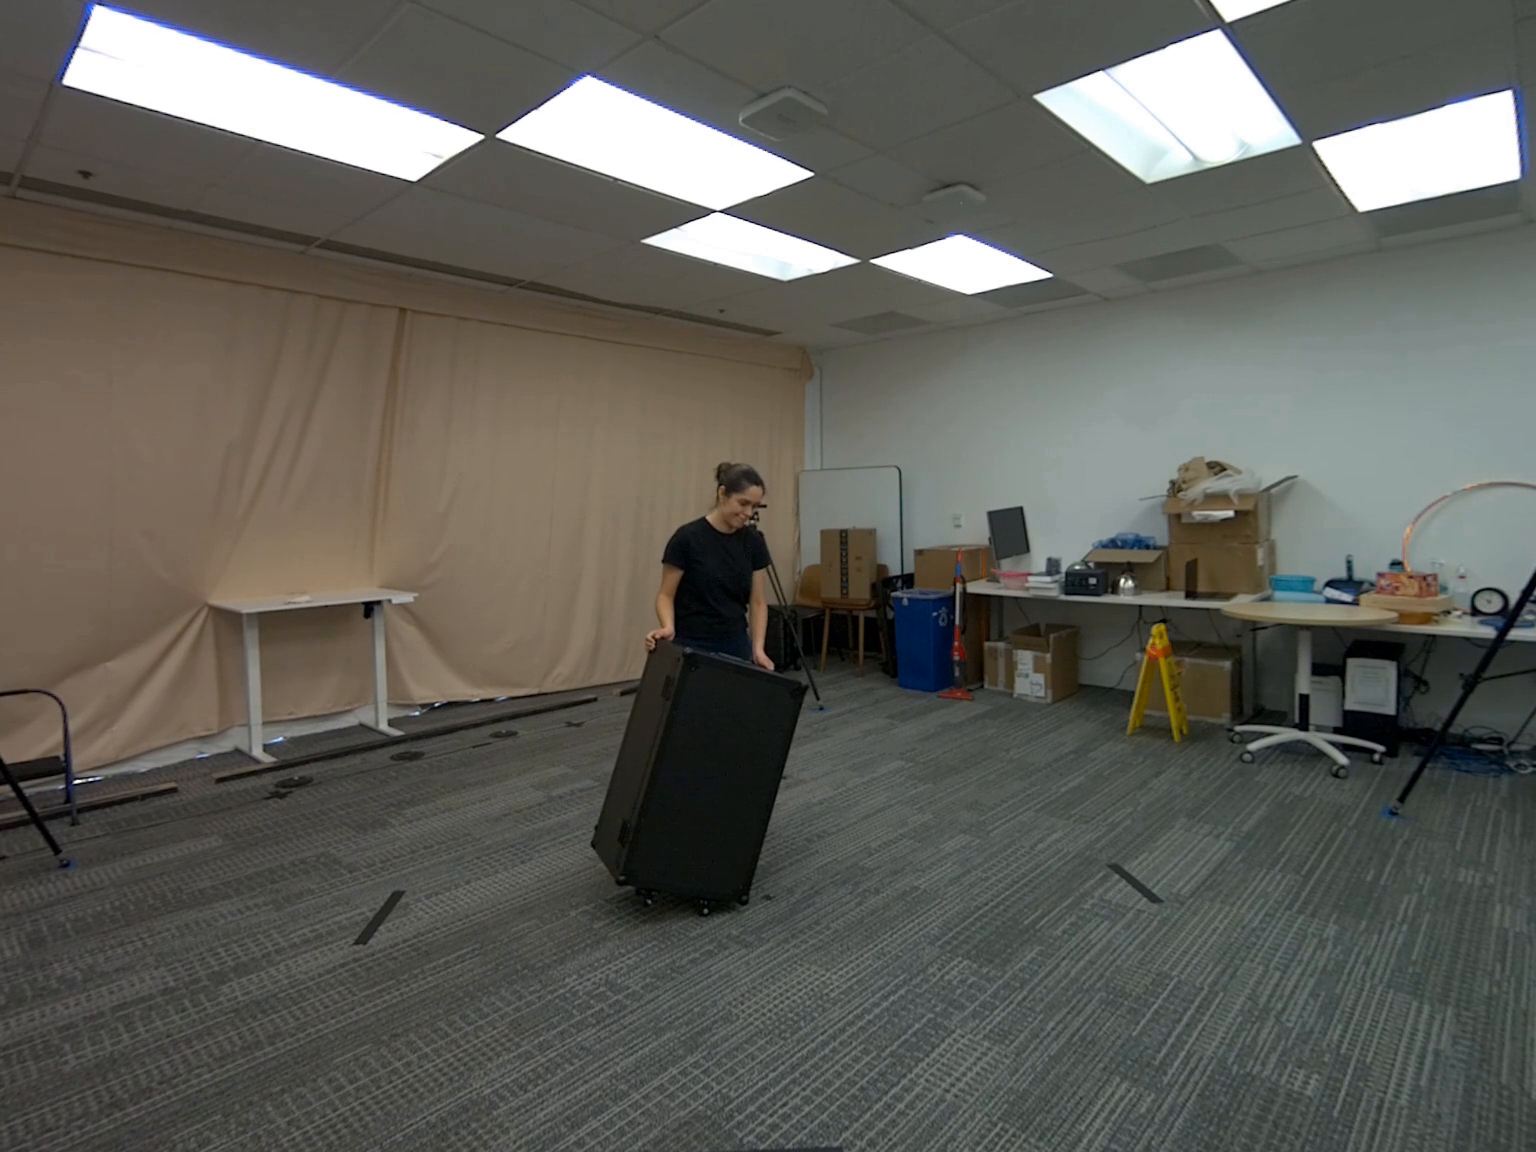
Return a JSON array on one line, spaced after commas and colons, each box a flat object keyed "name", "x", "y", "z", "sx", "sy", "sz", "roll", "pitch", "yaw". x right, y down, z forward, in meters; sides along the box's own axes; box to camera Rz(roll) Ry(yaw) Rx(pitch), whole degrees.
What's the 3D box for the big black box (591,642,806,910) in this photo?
[{"name": "big black box", "x": -0.253, "y": 0.701, "z": 2.984, "sx": 0.508, "sy": 0.863, "sz": 0.406, "roll": 19, "pitch": -6, "yaw": -24}]
